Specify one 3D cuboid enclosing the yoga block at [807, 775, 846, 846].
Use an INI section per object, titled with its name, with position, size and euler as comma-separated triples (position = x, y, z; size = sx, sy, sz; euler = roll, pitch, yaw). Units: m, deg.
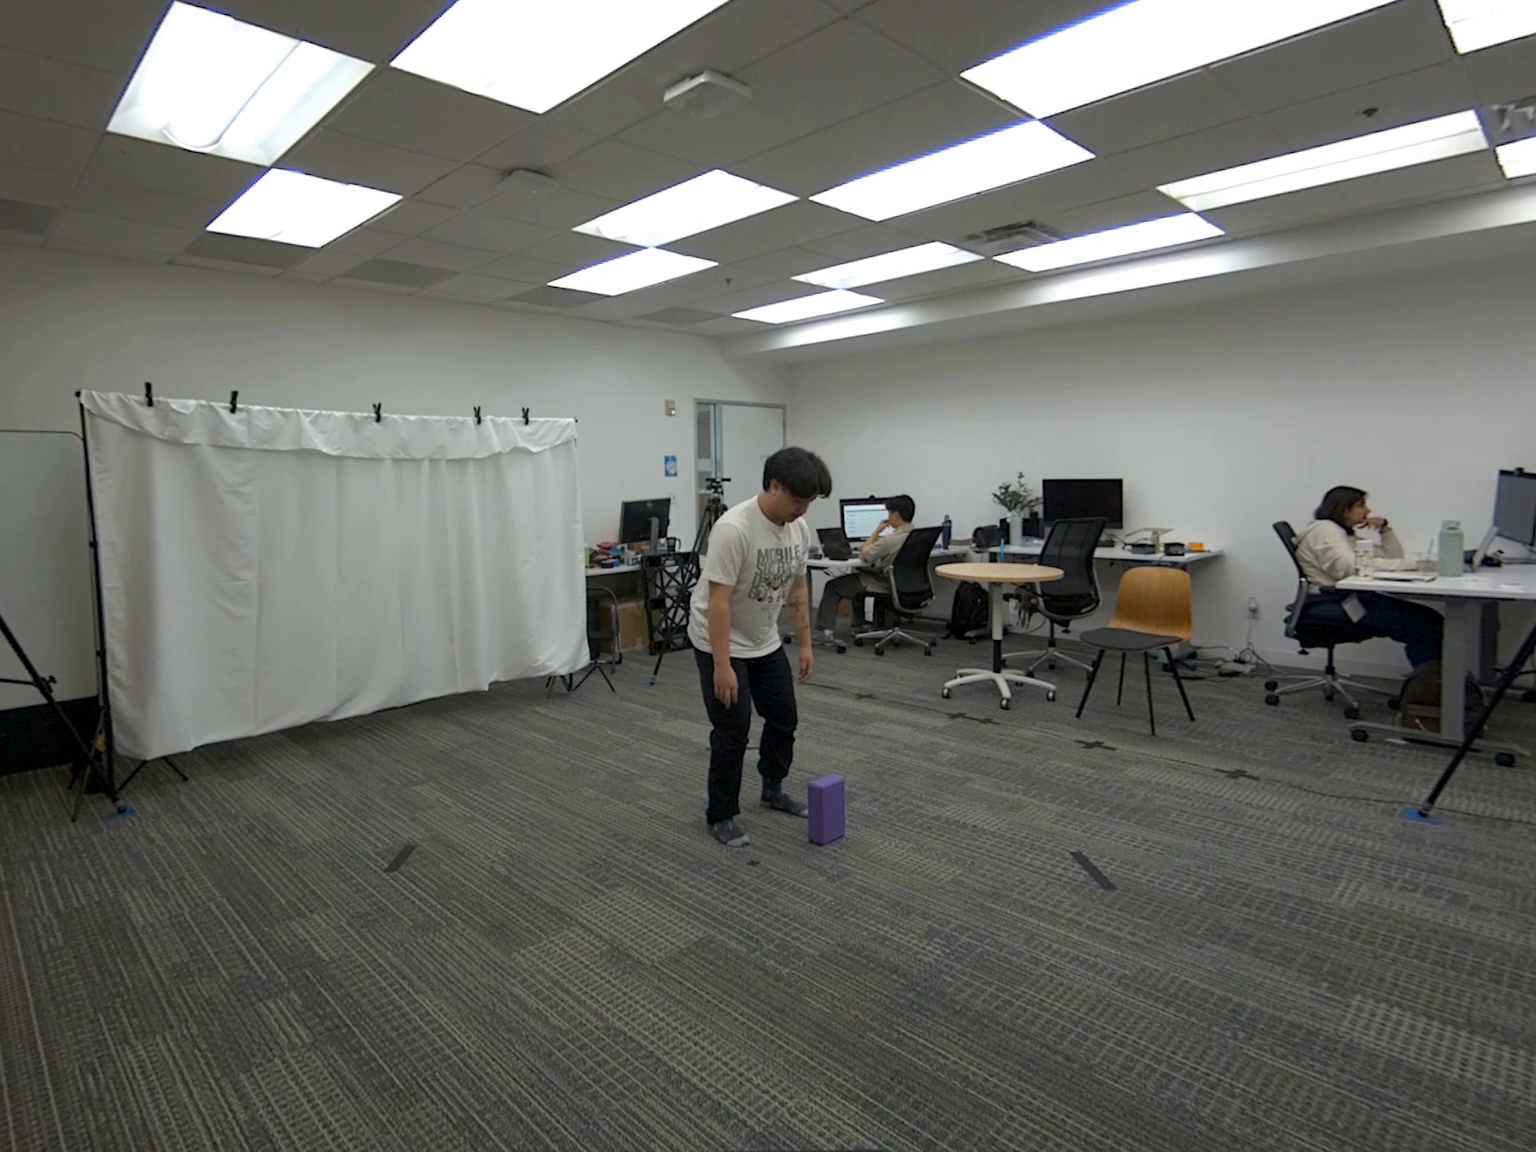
[yoga block]
position = 0.228, 0.901, 3.301
size = 0.079, 0.228, 0.145
euler = 3, 5, 43
